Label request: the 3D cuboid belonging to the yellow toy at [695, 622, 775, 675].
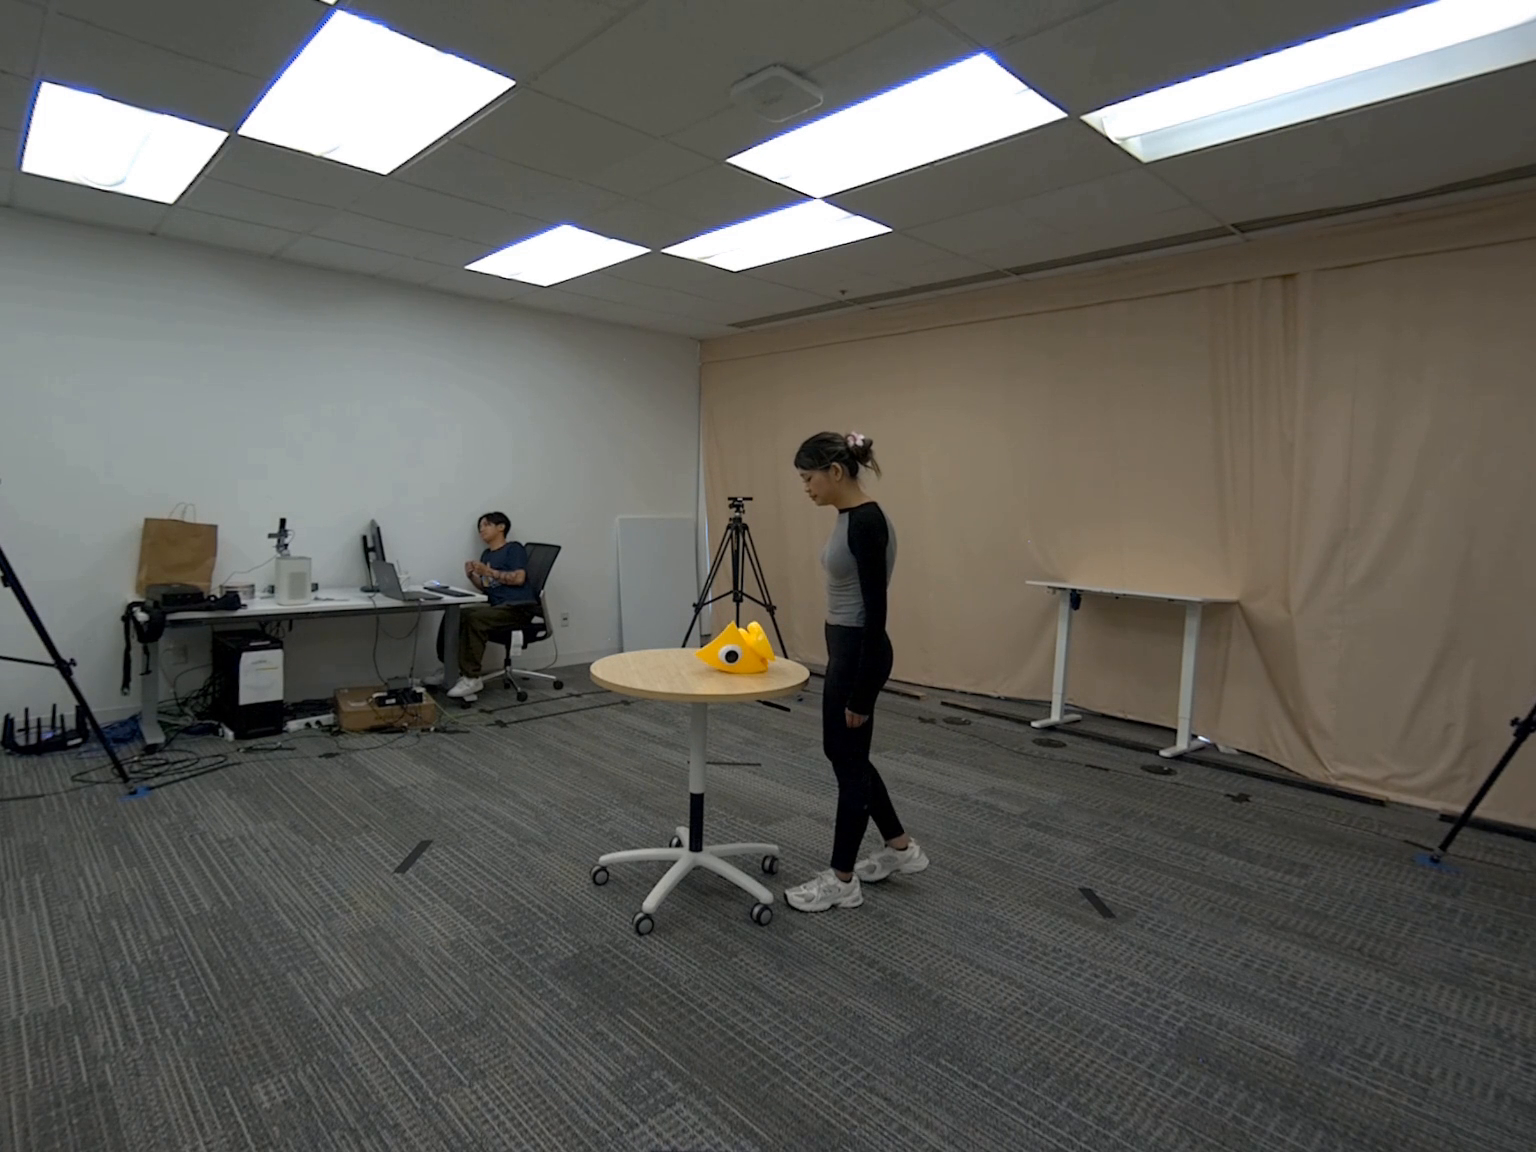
[{"bbox_3d":[-0.131,0.275,2.919,0.229,0.196,0.203,-24,-13,-17],"label":"yellow toy"}]
